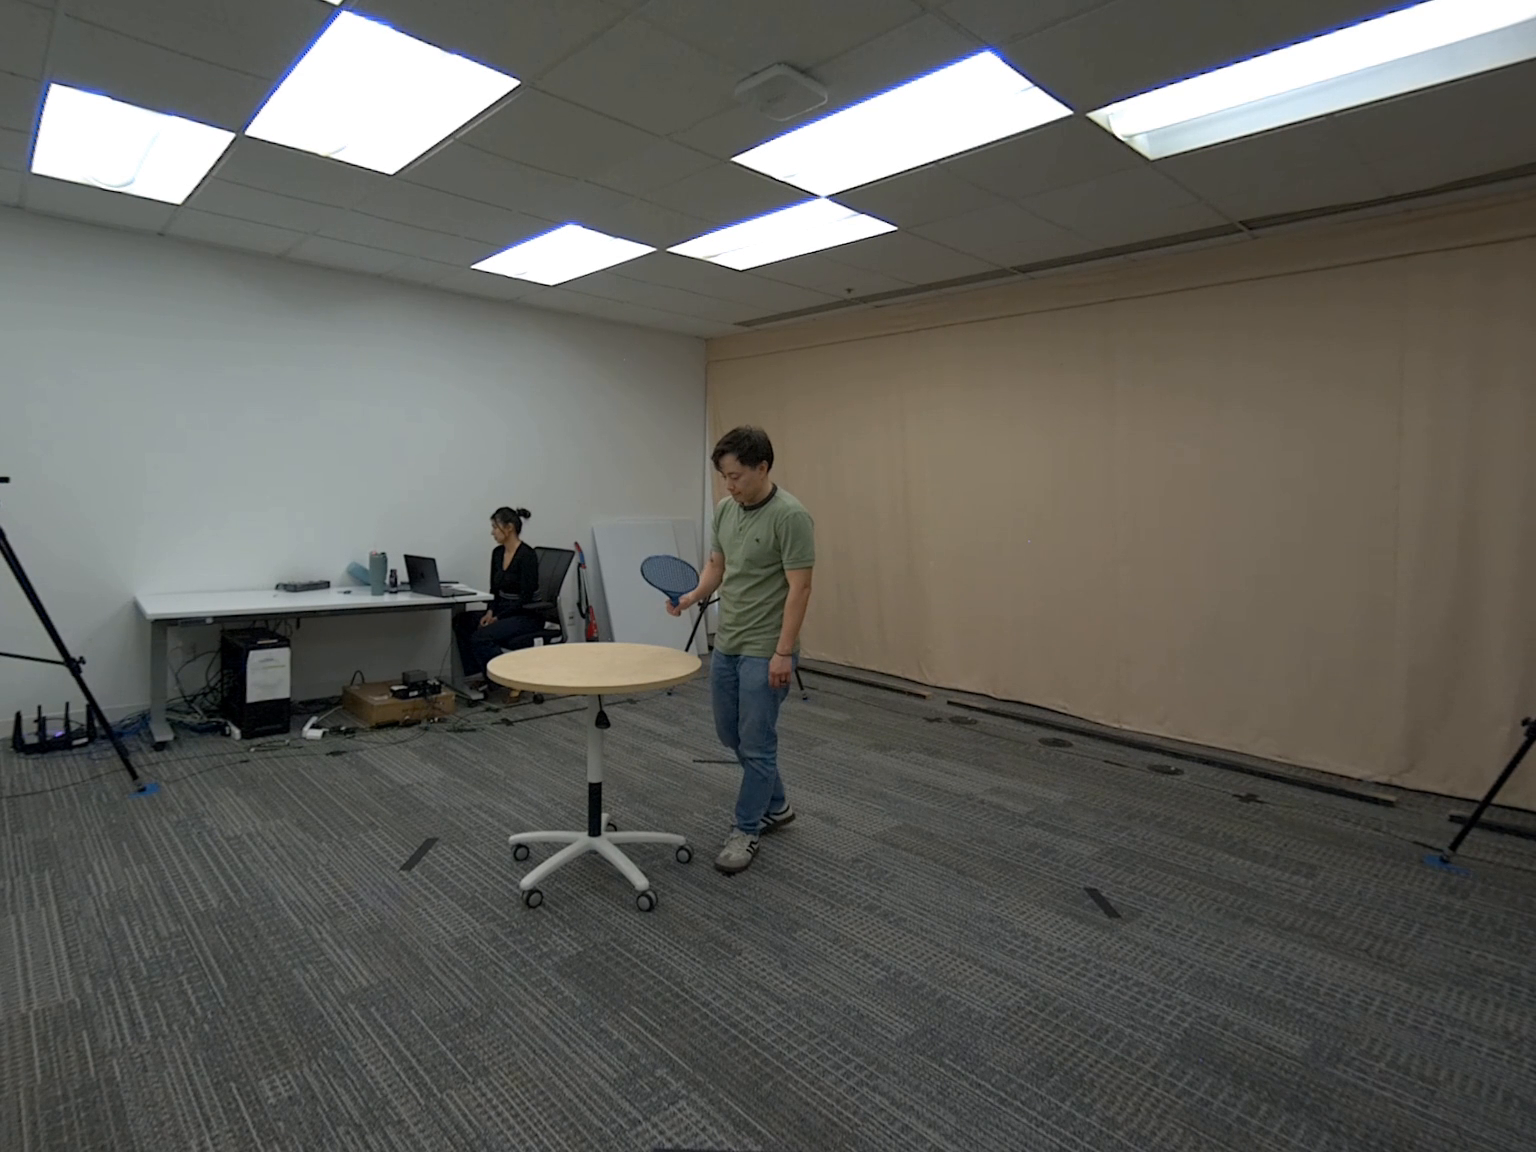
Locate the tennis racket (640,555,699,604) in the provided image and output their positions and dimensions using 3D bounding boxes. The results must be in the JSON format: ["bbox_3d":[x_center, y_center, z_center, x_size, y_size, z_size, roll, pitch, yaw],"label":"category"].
[{"bbox_3d":[-0.330,0.045,3.071,0.215,0.032,0.423,5,-30,9],"label":"tennis racket"}]
